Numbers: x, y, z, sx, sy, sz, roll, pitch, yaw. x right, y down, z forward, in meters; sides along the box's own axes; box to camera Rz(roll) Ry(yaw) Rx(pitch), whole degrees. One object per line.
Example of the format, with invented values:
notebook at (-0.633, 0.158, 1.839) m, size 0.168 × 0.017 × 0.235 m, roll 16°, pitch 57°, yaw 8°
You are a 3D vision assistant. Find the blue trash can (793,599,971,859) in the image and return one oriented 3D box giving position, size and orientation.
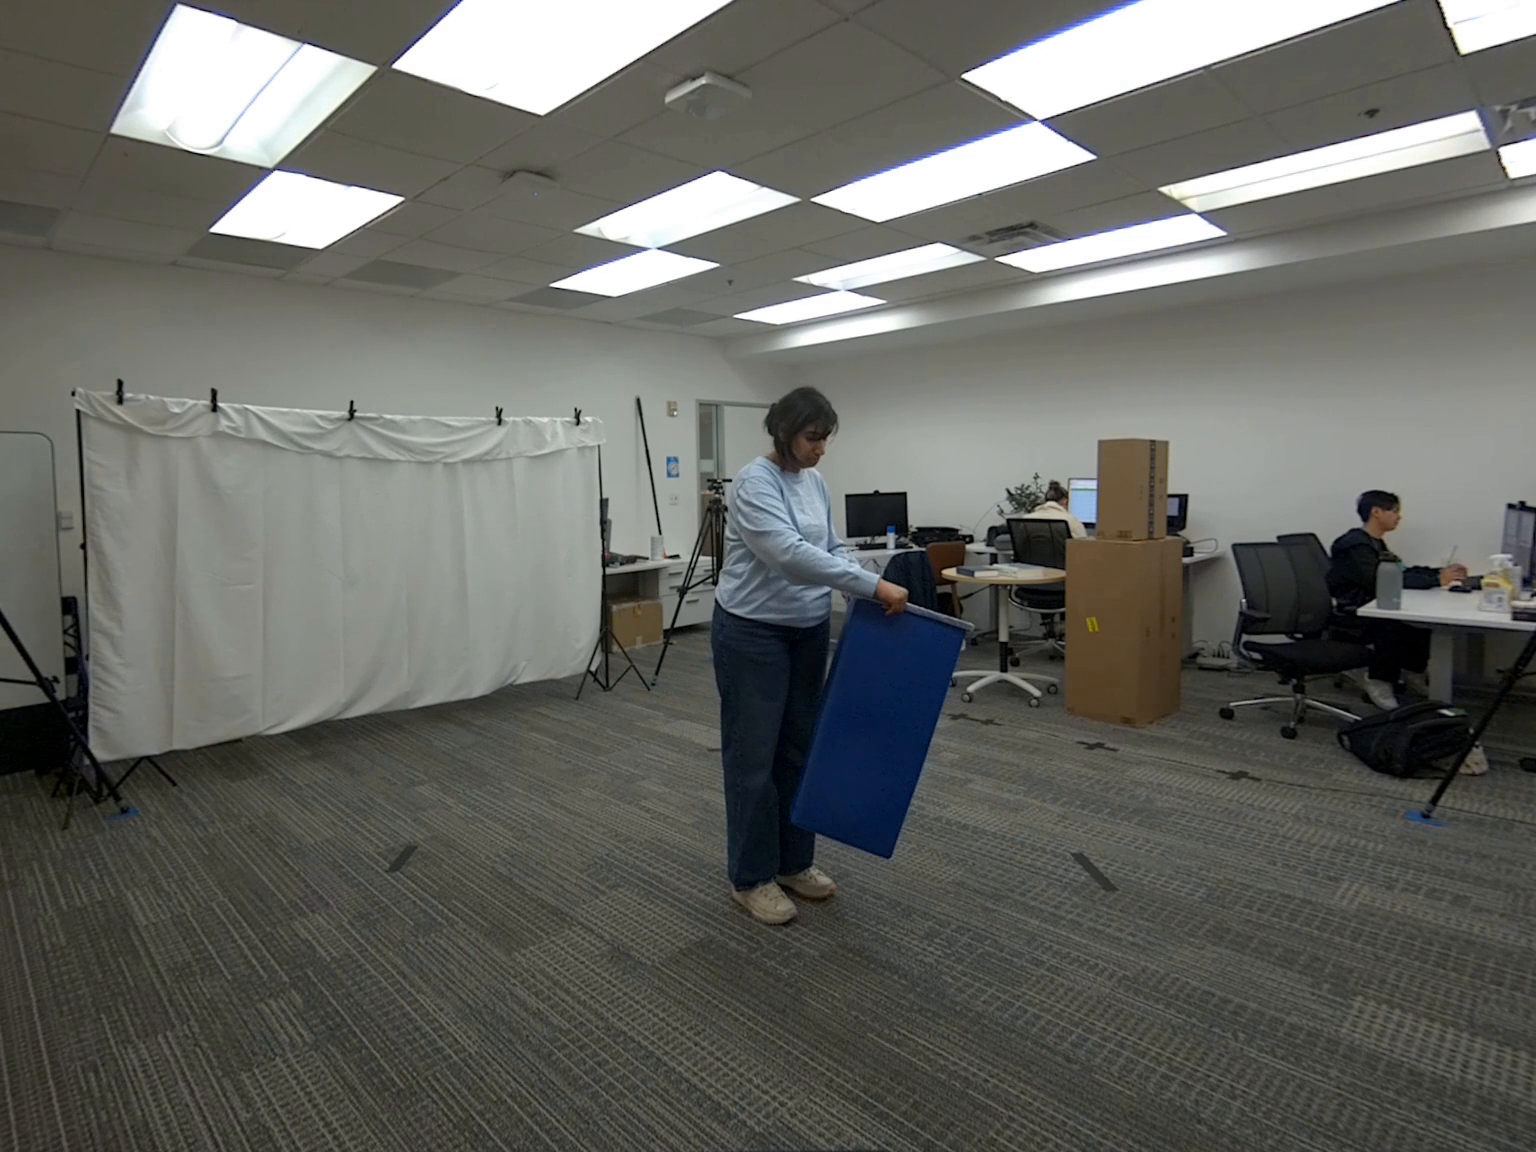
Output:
blue trash can at (0.318, 0.436, 2.624) m, size 0.377 × 0.716 × 0.374 m, roll 17°, pitch -6°, yaw 5°
